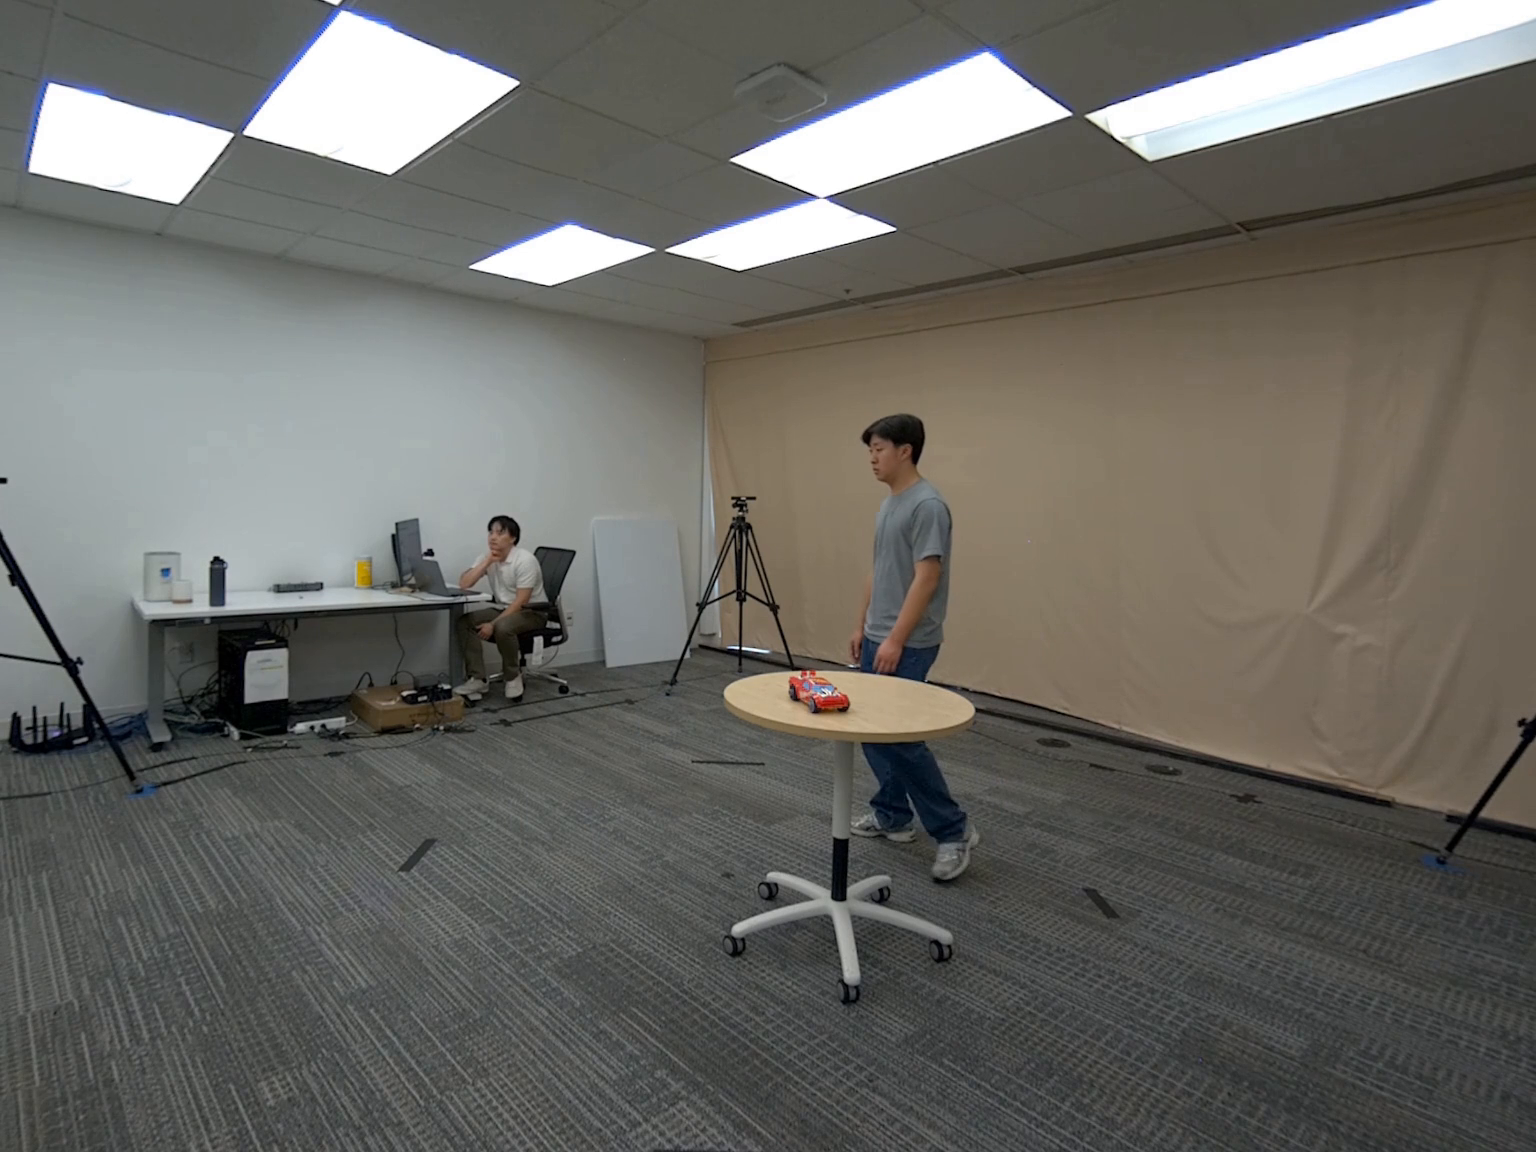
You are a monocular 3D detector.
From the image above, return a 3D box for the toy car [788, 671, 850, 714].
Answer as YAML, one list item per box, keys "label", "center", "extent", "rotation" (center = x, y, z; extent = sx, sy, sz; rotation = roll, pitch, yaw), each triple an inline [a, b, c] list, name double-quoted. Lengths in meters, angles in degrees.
- label: "toy car"
  center: [0.140, 0.352, 2.507]
  extent: [0.128, 0.082, 0.261]
  rotation: [-1, 17, -19]
